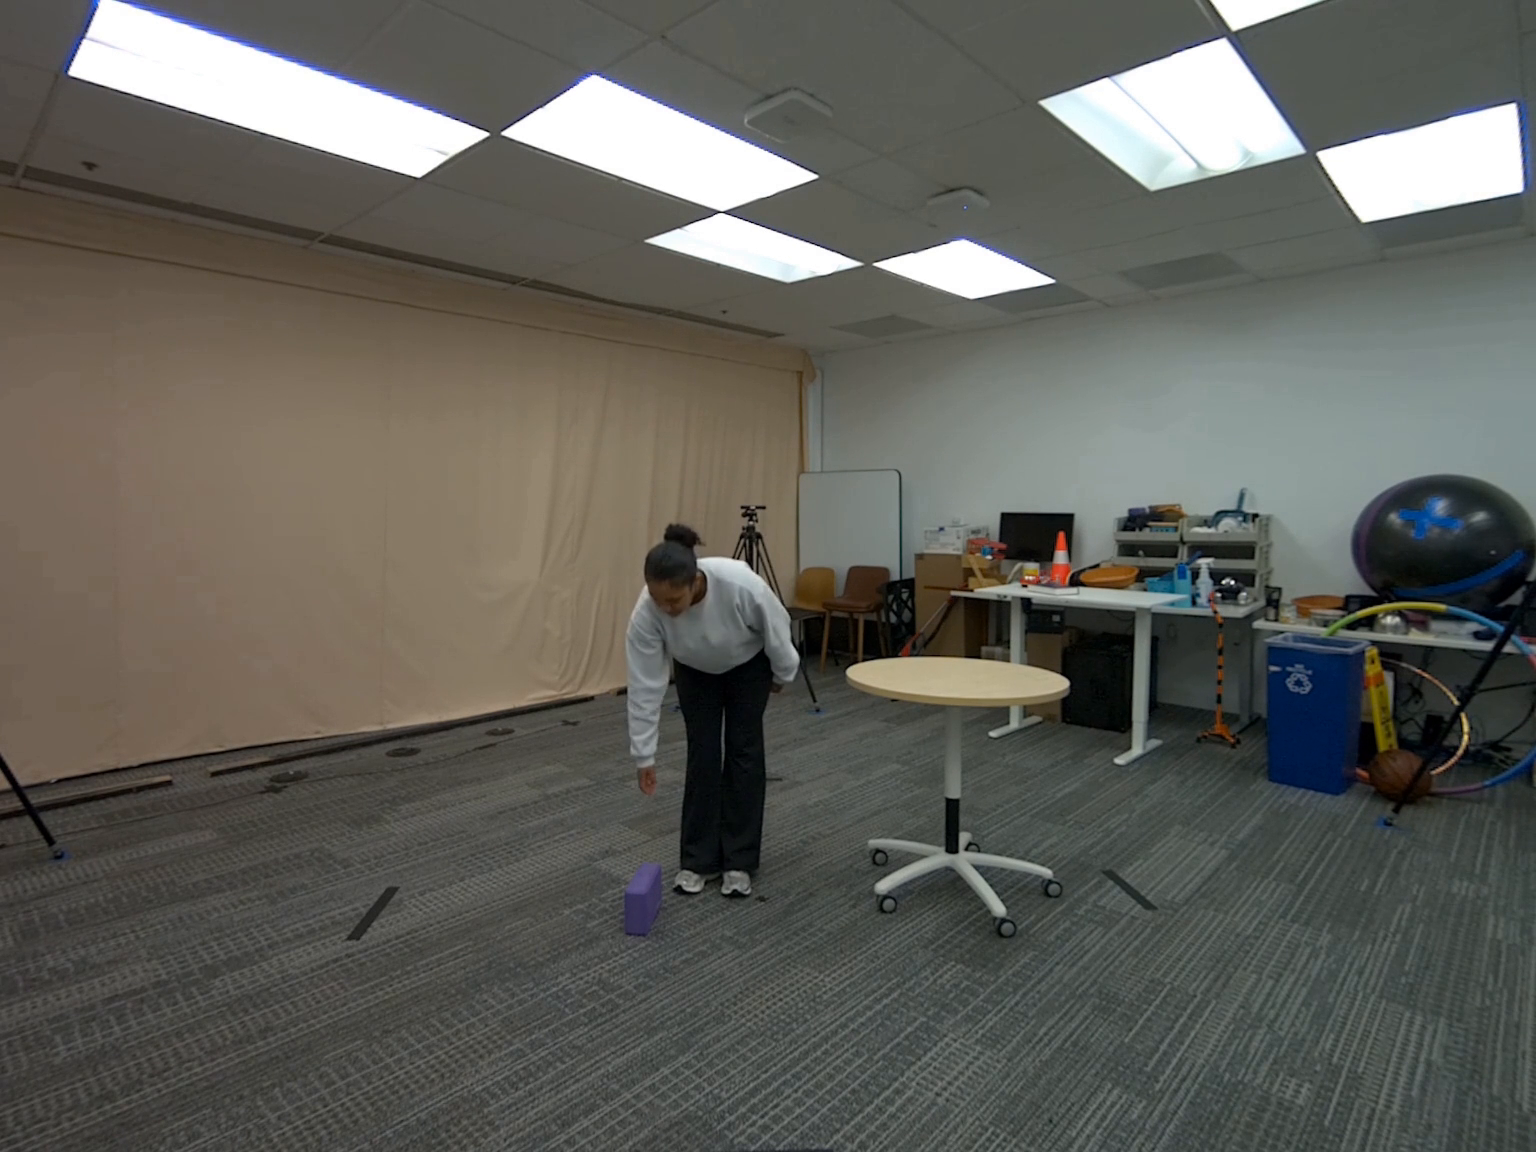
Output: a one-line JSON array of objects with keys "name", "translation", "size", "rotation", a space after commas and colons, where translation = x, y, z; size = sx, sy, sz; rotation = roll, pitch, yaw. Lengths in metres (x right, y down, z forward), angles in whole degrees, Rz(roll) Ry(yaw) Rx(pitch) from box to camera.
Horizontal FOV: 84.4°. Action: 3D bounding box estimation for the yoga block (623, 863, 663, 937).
[{"name": "yoga block", "translation": [-0.420, 1.074, 2.836], "size": [0.077, 0.148, 0.229], "rotation": [0, 6, 4]}]
